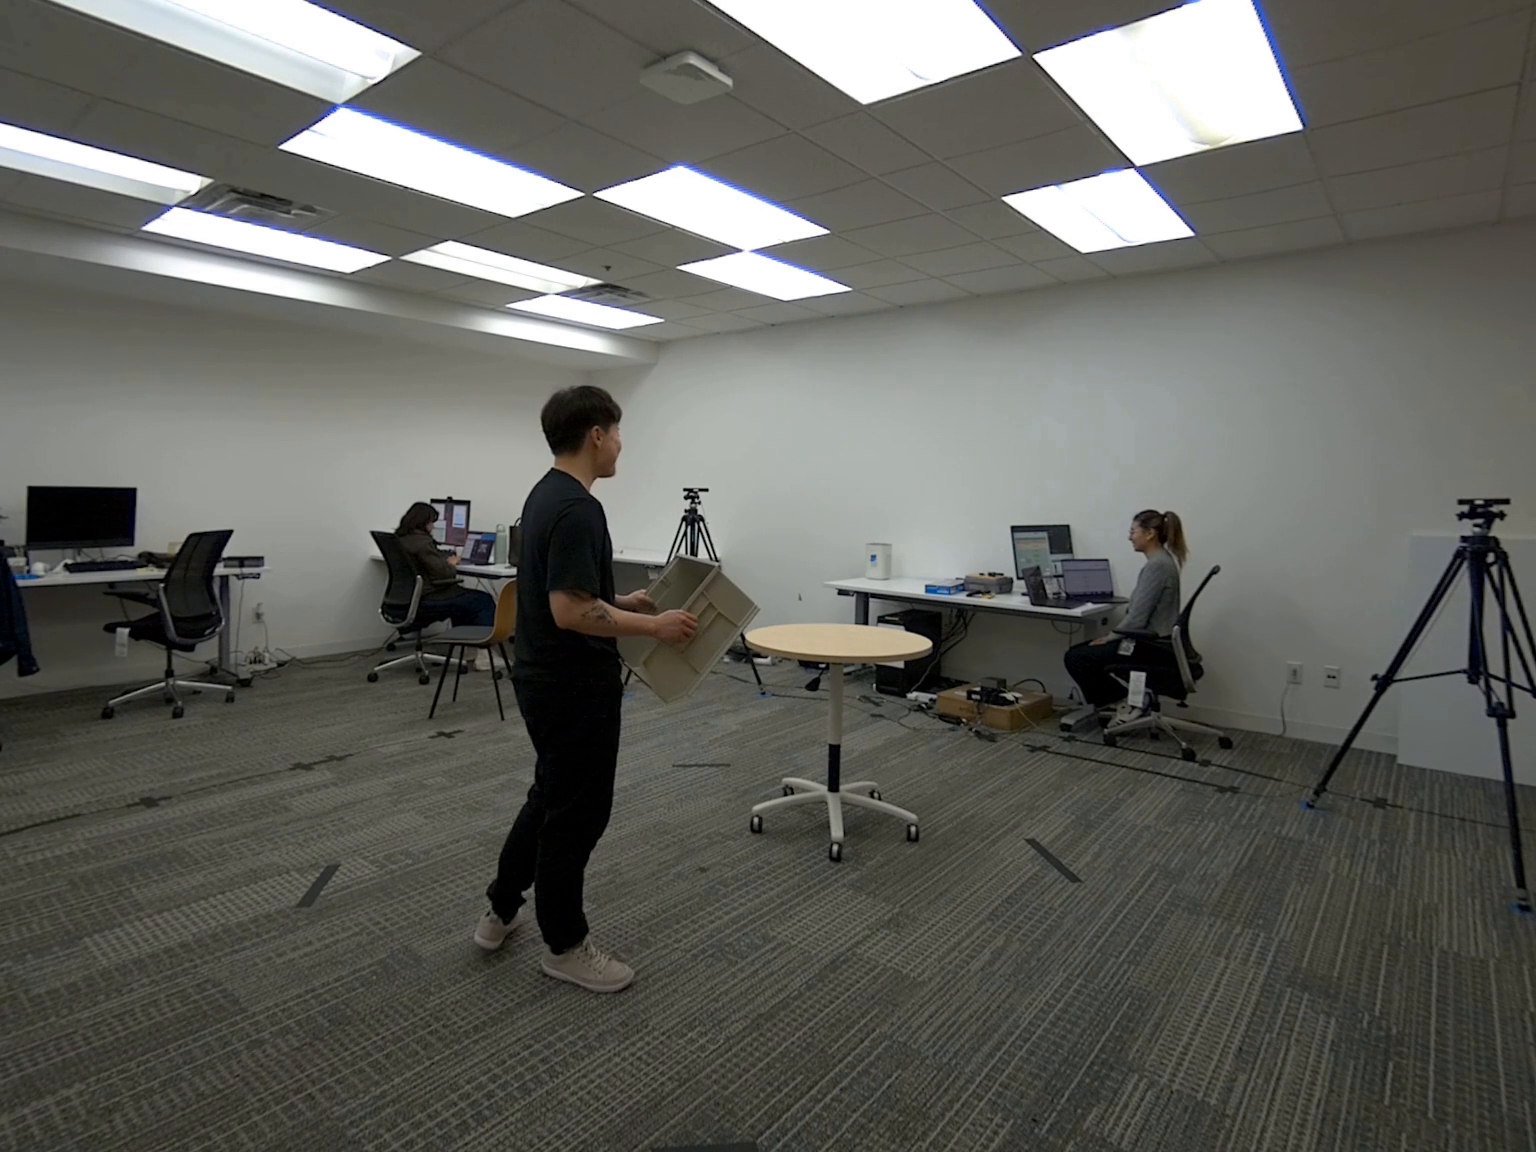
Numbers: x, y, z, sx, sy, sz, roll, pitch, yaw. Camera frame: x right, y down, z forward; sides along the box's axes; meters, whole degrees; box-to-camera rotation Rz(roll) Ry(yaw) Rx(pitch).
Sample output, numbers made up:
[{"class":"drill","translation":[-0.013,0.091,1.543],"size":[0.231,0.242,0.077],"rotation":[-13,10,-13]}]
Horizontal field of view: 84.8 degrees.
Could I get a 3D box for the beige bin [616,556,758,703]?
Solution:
[{"class":"beige bin","translation":[-0.277,0.151,2.491],"size":[0.184,0.377,0.432],"rotation":[44,-11,-19]}]
